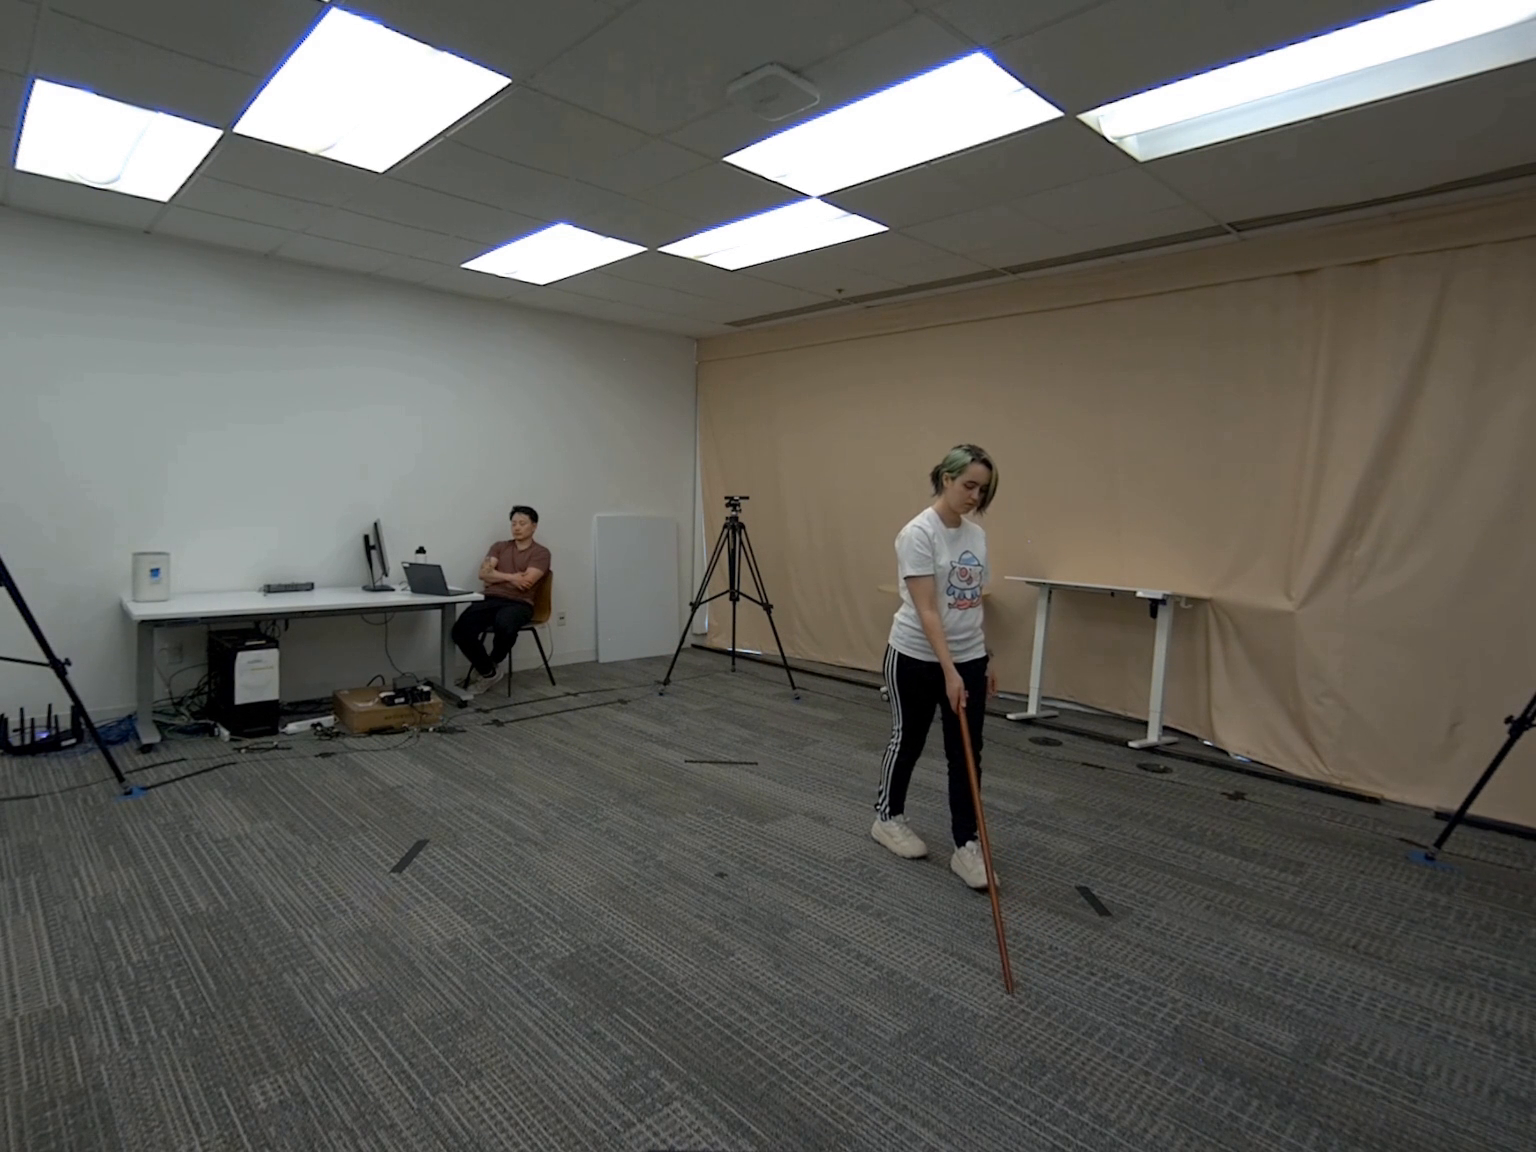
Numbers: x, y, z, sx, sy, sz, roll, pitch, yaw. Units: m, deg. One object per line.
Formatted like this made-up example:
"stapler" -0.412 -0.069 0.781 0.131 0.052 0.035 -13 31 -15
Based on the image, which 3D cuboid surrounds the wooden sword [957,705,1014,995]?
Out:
"wooden sword" 0.684 0.782 2.710 0.024 1.048 0.050 -12 -37 11
